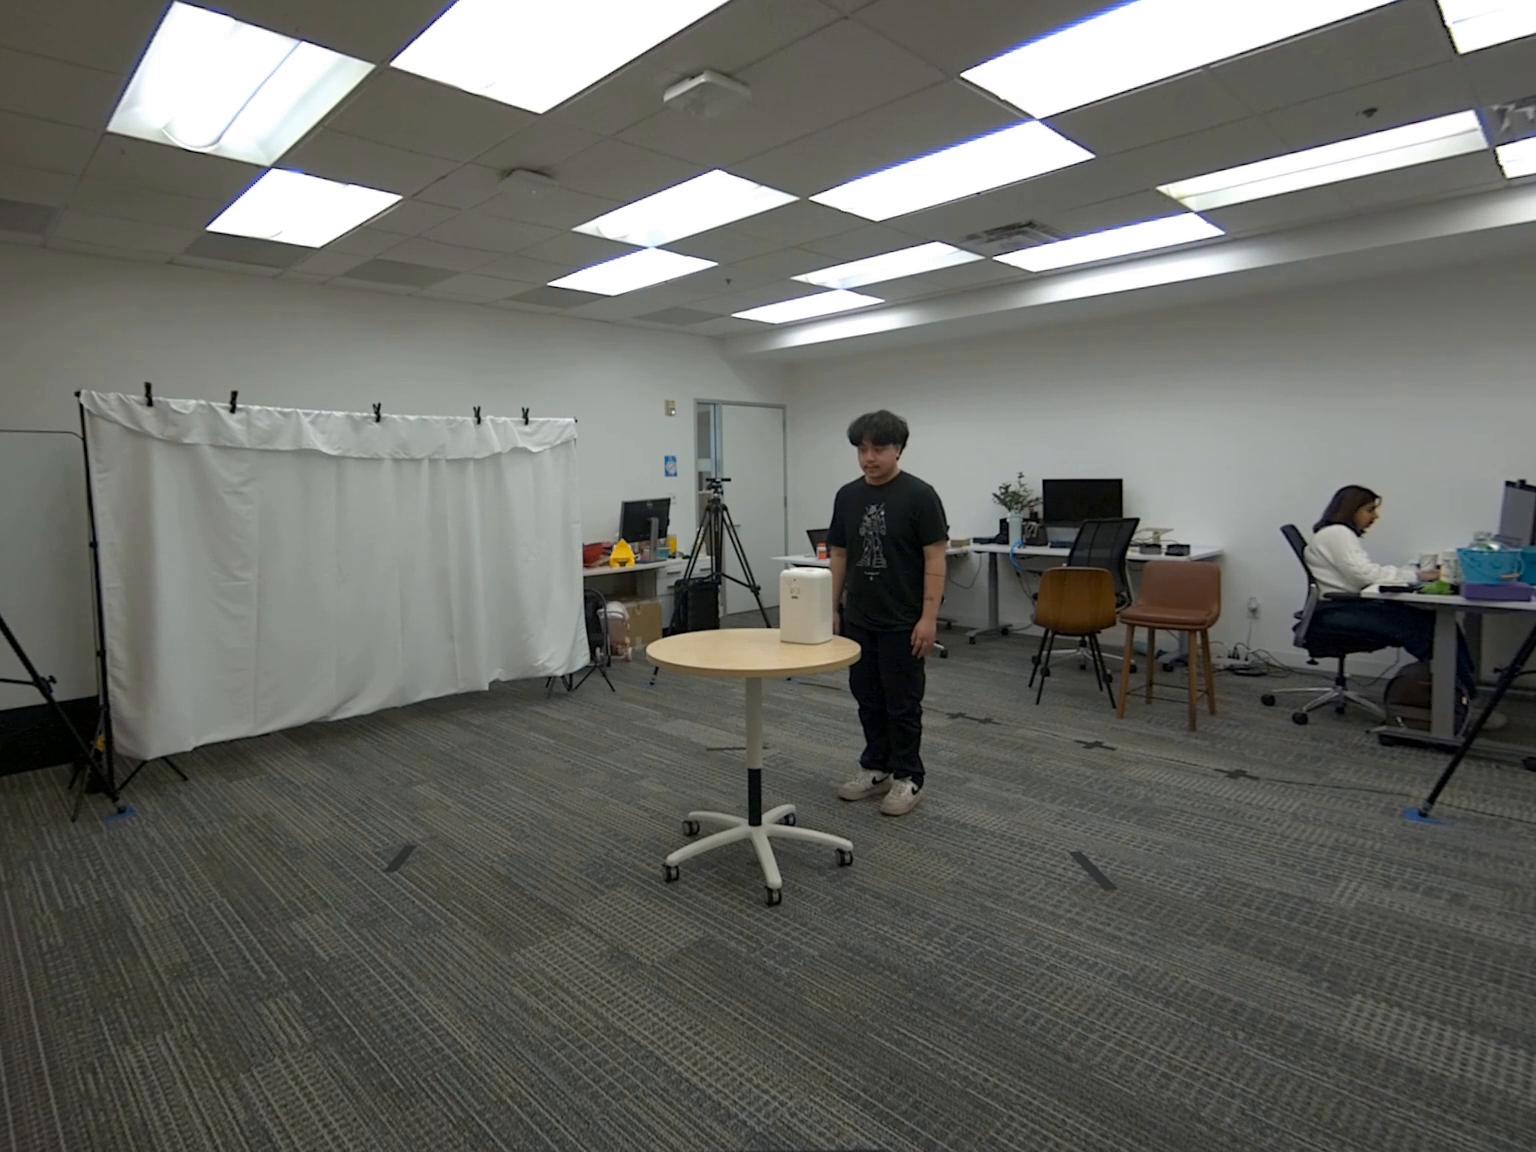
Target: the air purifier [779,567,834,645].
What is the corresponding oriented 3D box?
[{"bbox_3d":[0.147,0.104,3.172,0.176,0.265,0.167,2,3,31],"label":"air purifier"}]
